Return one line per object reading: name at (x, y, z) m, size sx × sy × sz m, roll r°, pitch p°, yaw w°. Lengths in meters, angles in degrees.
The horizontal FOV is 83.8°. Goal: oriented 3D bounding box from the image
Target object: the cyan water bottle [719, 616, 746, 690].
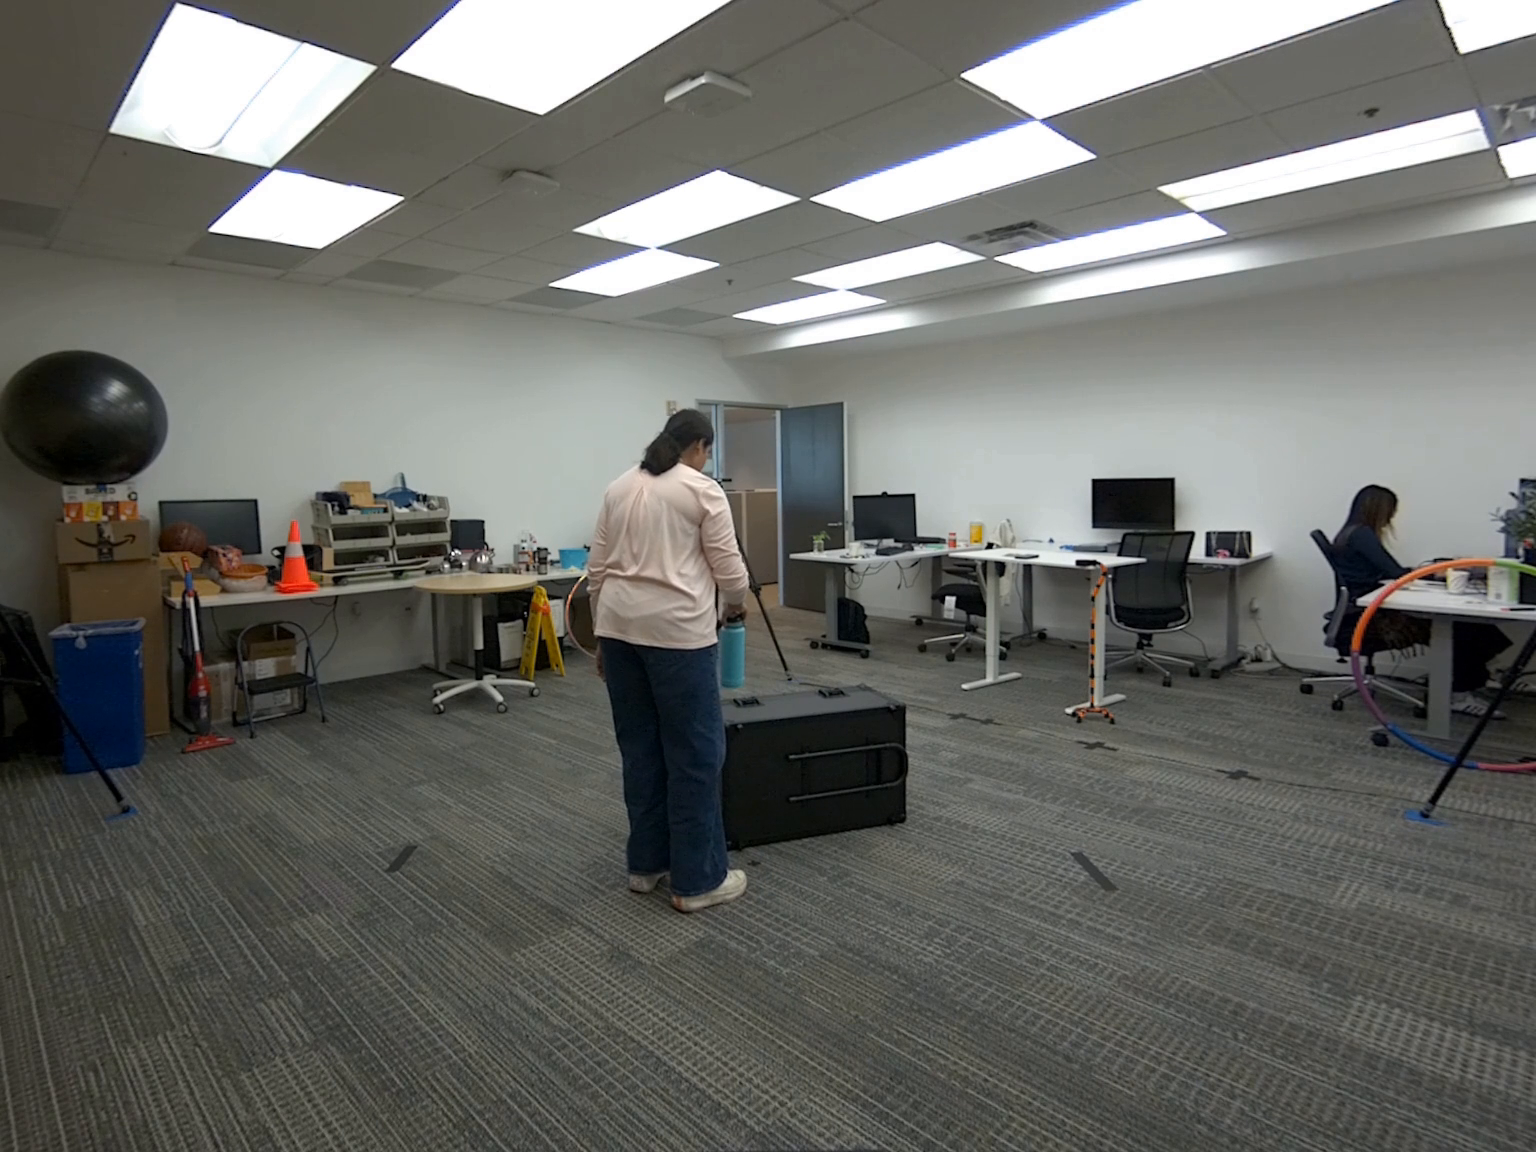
cyan water bottle at (-0.127, 0.266, 3.176) m, size 0.092 × 0.281 × 0.093 m, roll 1°, pitch 8°, yaw -2°
